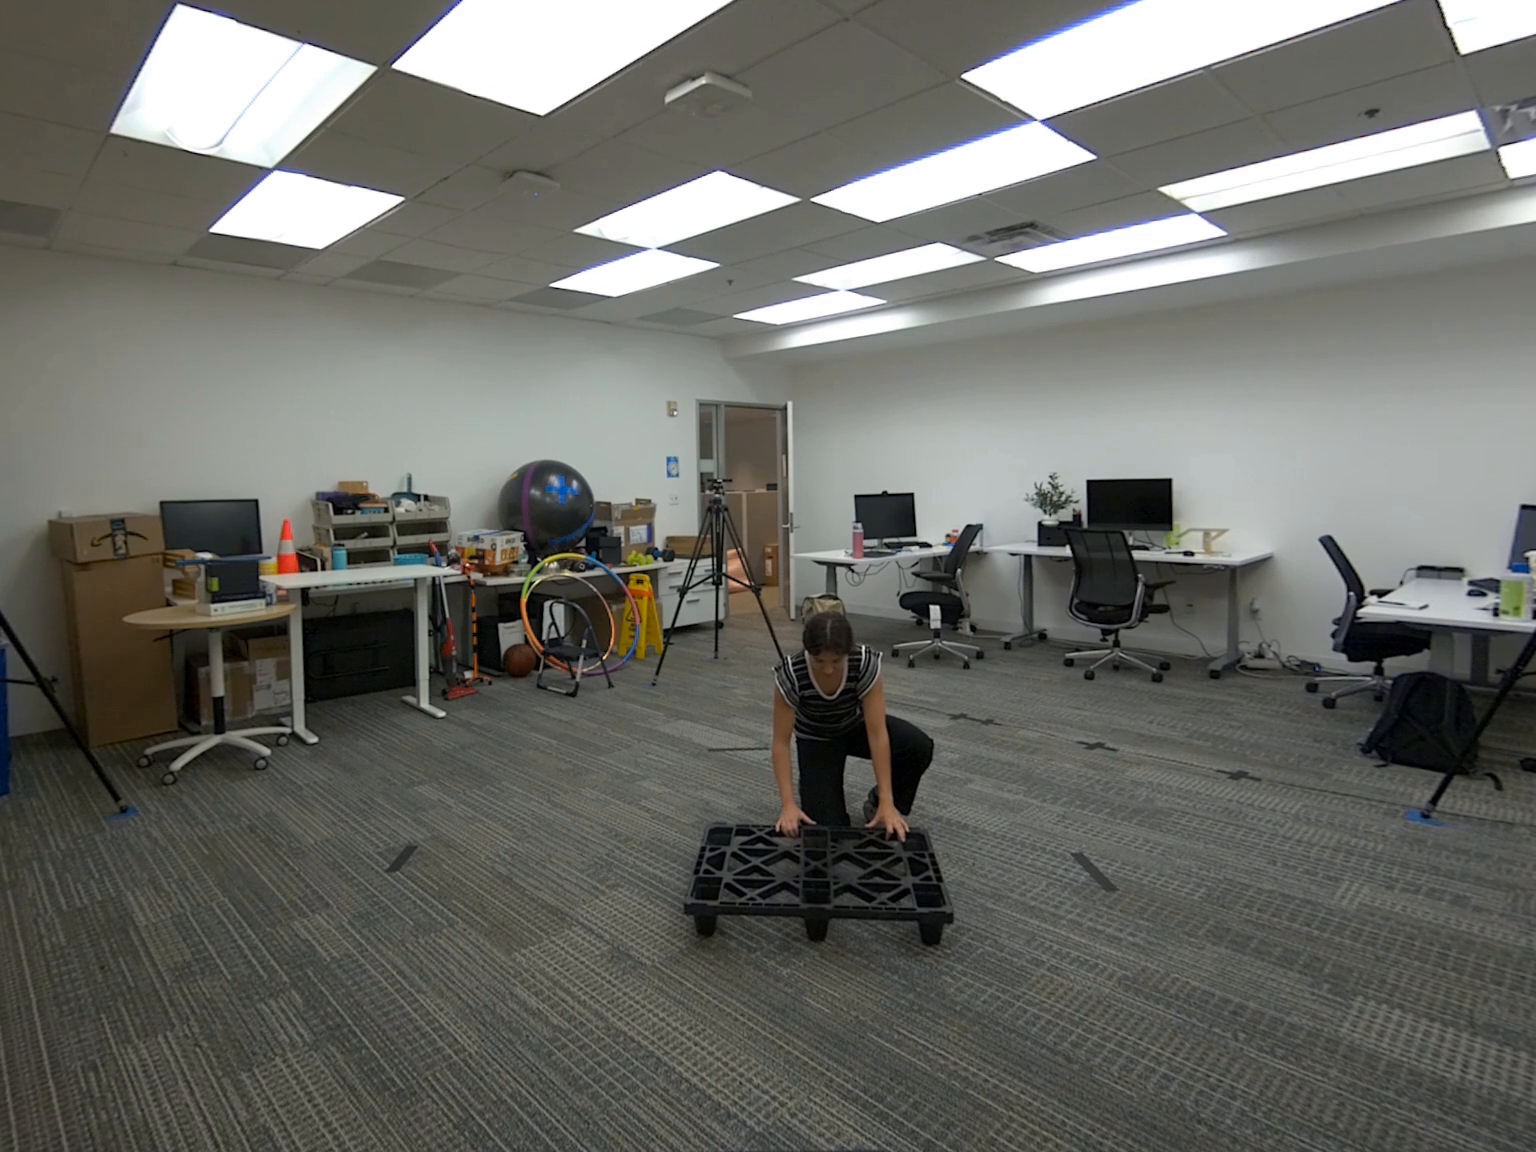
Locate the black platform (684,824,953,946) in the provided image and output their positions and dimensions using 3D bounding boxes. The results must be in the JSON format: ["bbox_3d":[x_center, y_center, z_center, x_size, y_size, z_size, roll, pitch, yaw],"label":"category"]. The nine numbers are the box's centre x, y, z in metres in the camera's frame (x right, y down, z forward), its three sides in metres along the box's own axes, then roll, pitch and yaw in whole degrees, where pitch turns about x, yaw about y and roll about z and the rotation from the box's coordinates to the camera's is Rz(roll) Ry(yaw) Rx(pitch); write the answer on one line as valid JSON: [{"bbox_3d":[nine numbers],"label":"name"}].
[{"bbox_3d":[0.154,1.007,2.813,0.810,0.143,0.604,0,6,5],"label":"black platform"}]
